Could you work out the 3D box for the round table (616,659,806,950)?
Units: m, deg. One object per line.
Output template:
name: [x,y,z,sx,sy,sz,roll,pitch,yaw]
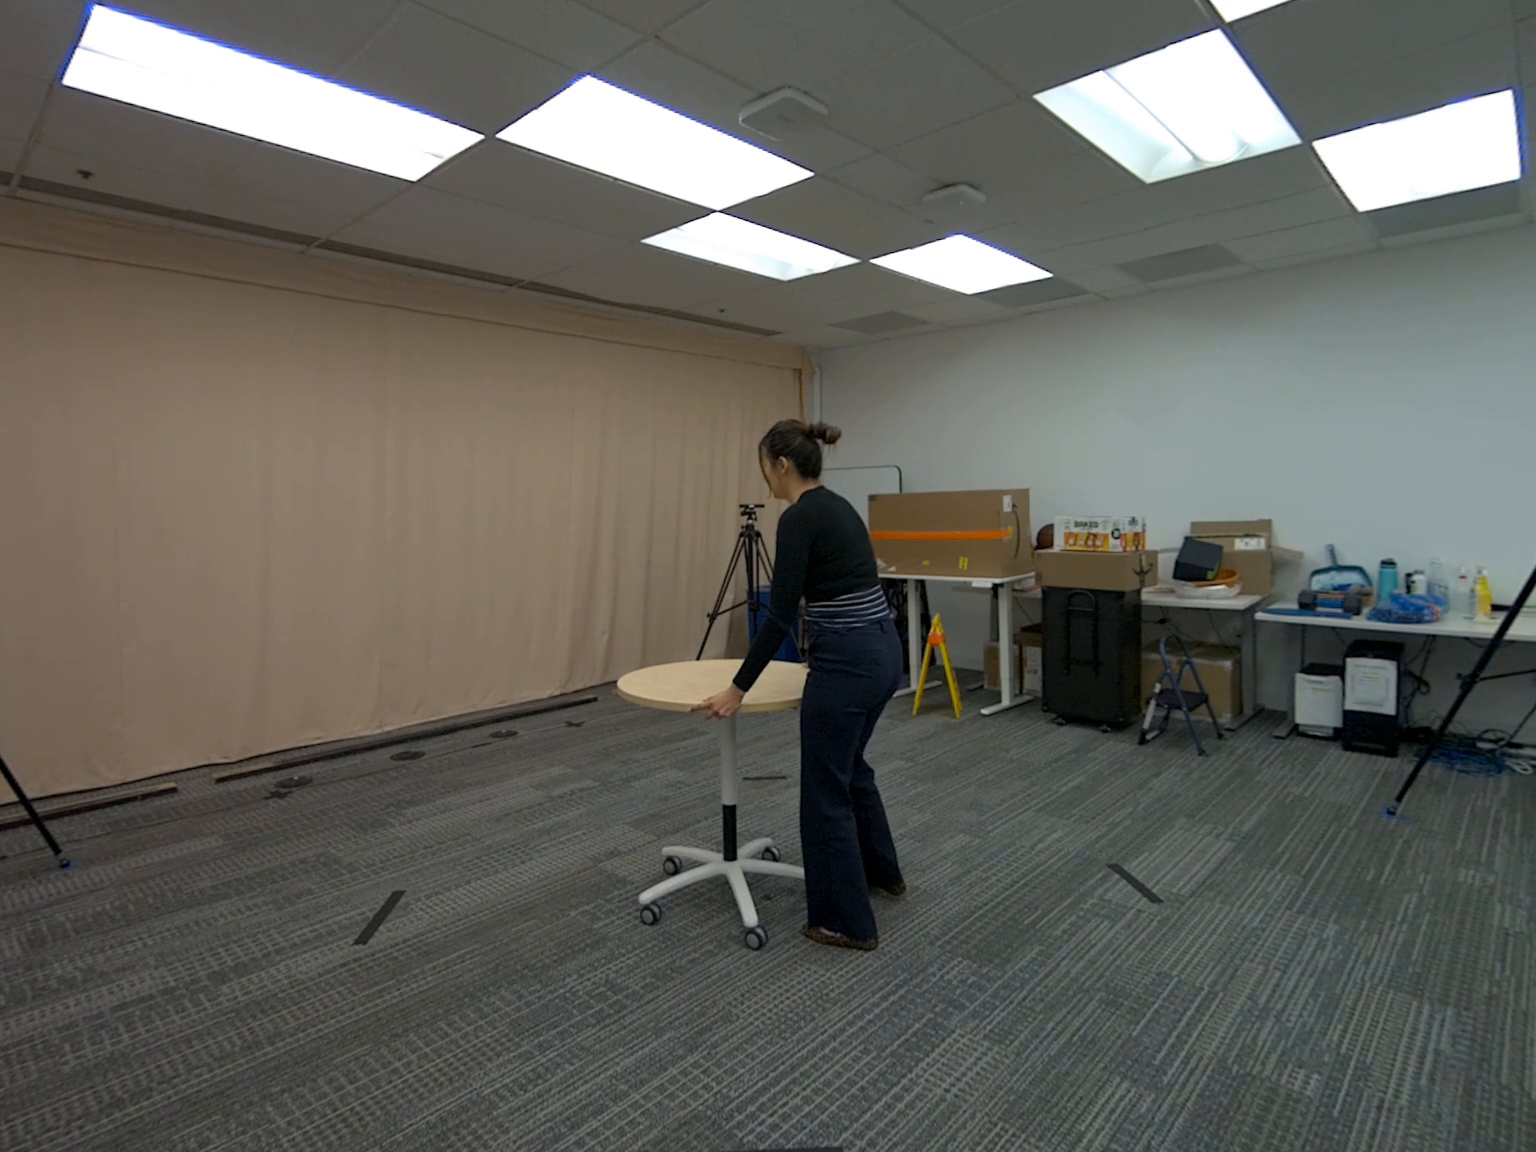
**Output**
round table: [-0.135,0.755,2.965,0.763,0.792,0.766,-1,3,-2]
